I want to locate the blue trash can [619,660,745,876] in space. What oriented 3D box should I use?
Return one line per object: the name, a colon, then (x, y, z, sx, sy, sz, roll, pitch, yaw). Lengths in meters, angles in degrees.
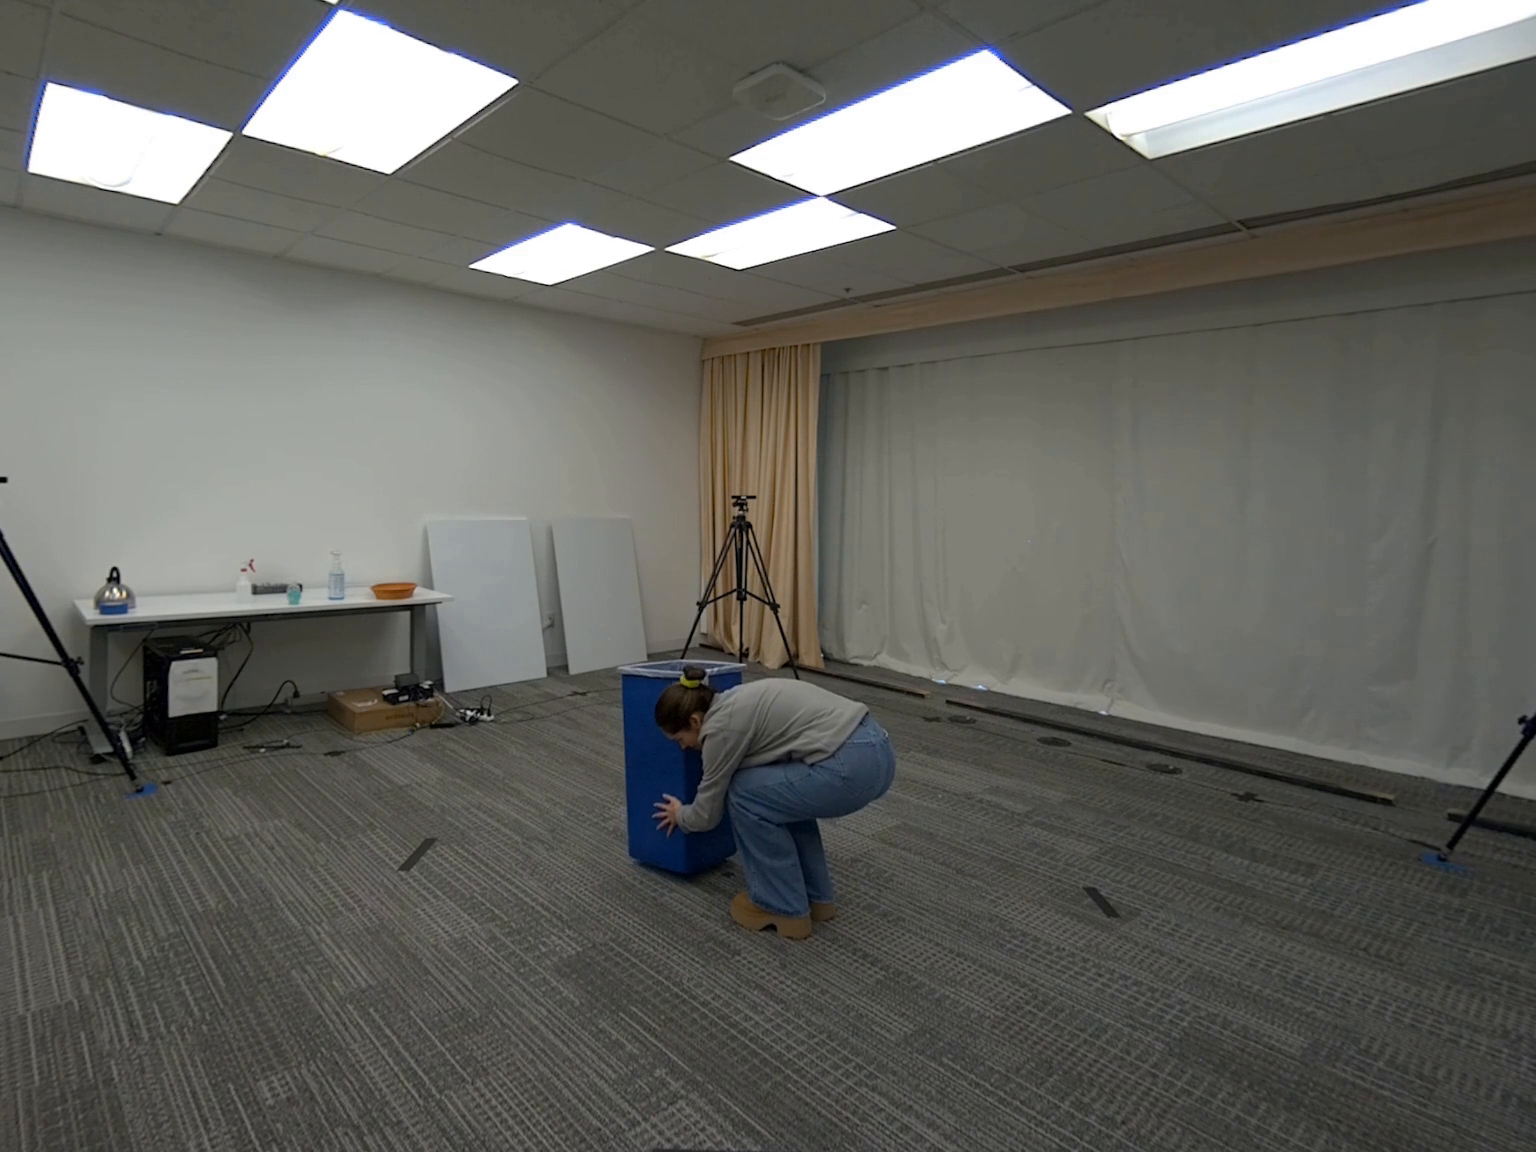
blue trash can: (-0.335, 0.694, 3.200, 0.382, 0.715, 0.369, -1, -3, 39)
